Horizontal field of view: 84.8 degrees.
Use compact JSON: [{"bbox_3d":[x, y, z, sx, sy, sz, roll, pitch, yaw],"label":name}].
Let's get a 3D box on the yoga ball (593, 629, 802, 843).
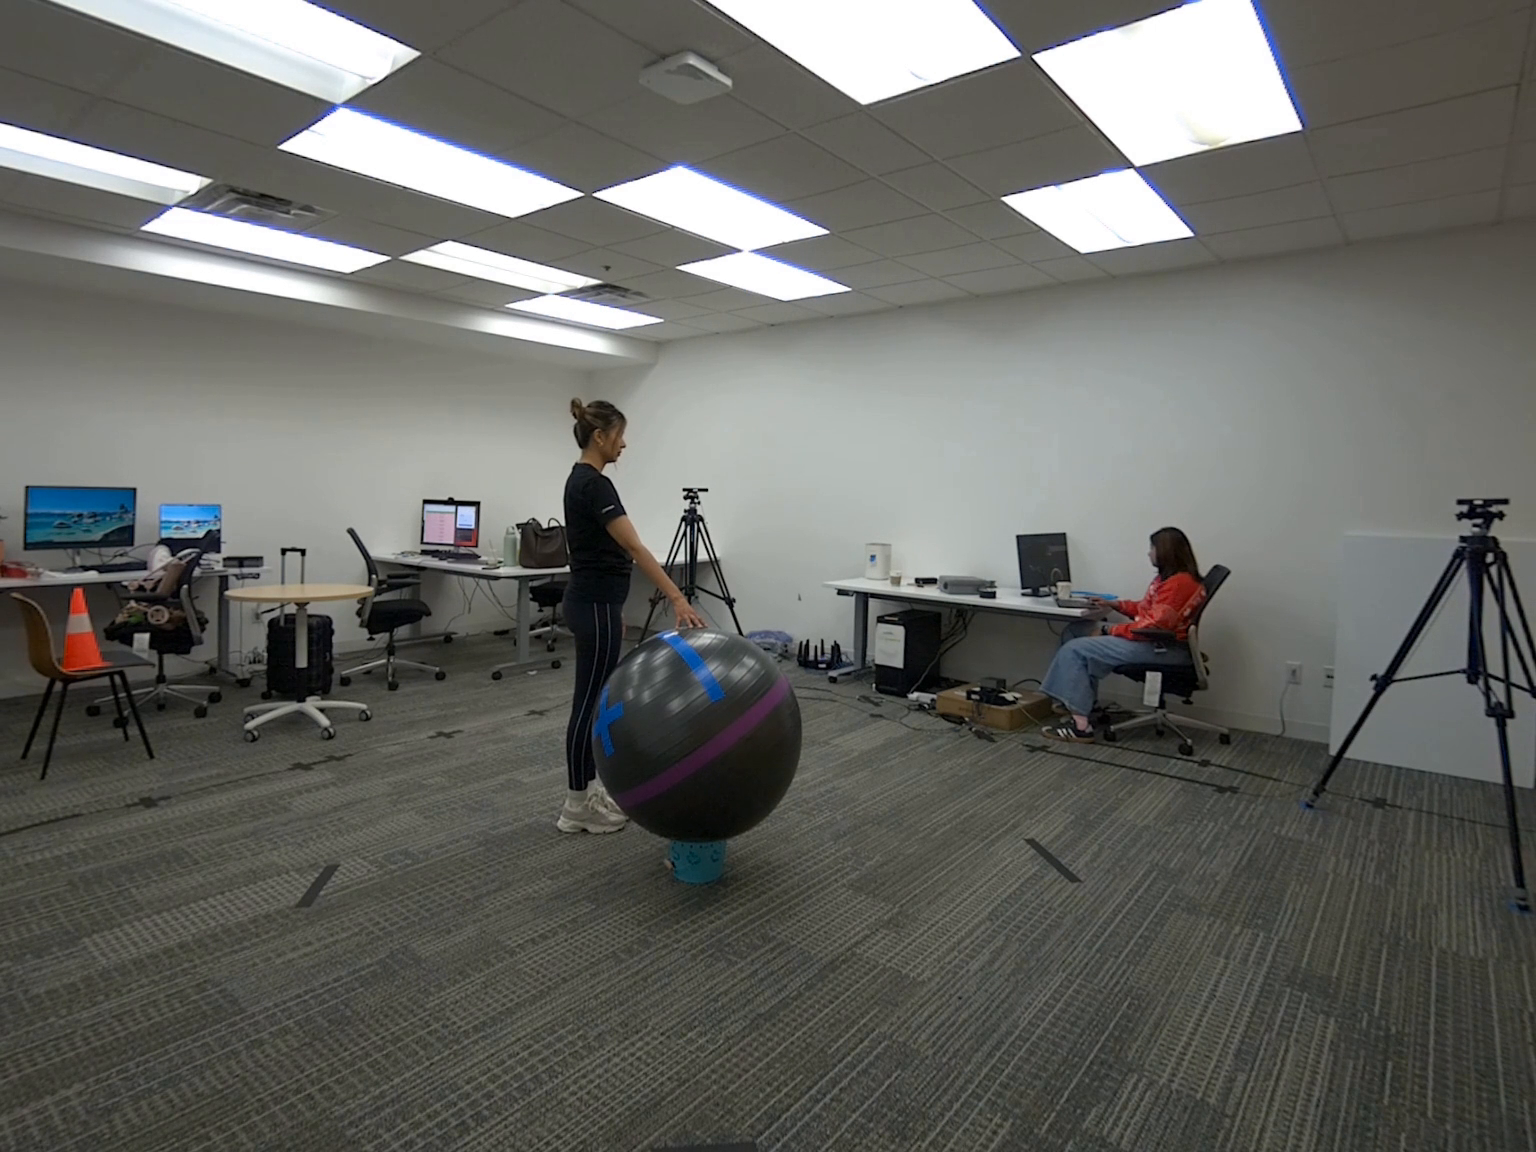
[{"bbox_3d":[-0.268,0.566,3.073,0.757,0.755,0.762,1,4,-2],"label":"yoga ball"}]
